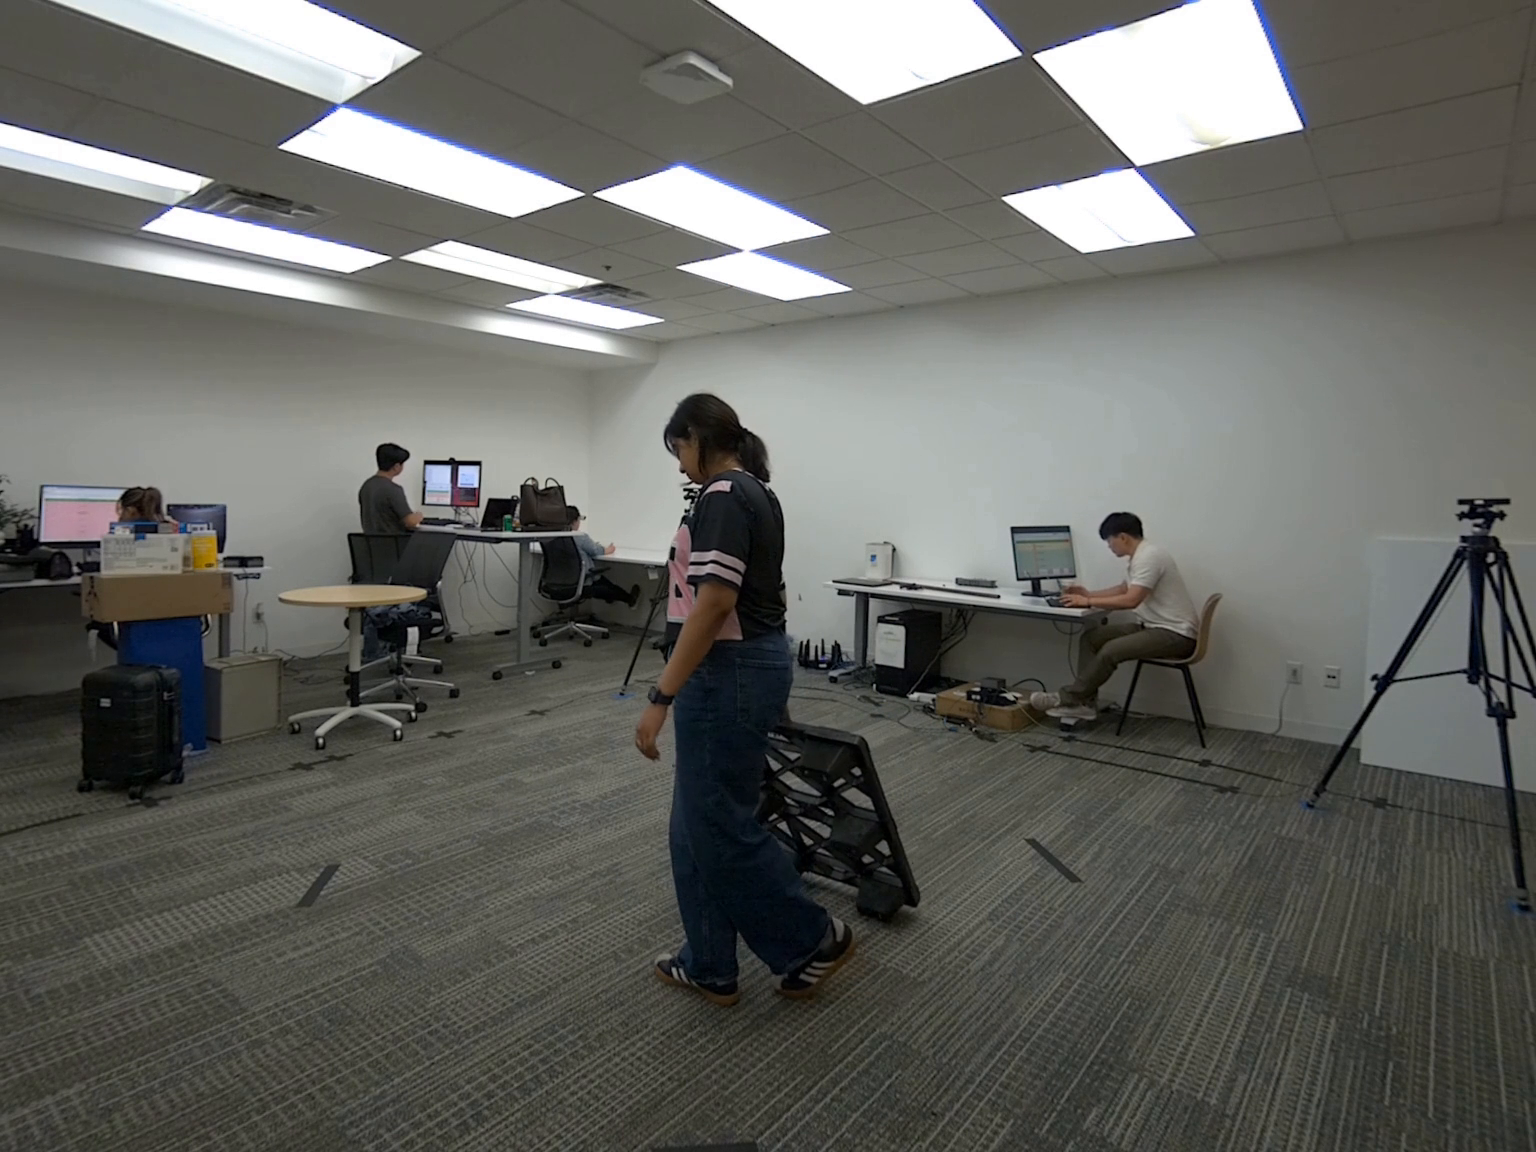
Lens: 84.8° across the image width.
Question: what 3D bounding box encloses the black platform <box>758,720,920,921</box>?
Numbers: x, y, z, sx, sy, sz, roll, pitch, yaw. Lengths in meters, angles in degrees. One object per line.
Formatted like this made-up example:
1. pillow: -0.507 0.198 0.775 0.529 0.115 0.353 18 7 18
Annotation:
1. black platform: 0.109 0.774 2.747 0.625 0.779 0.143 6 40 36
